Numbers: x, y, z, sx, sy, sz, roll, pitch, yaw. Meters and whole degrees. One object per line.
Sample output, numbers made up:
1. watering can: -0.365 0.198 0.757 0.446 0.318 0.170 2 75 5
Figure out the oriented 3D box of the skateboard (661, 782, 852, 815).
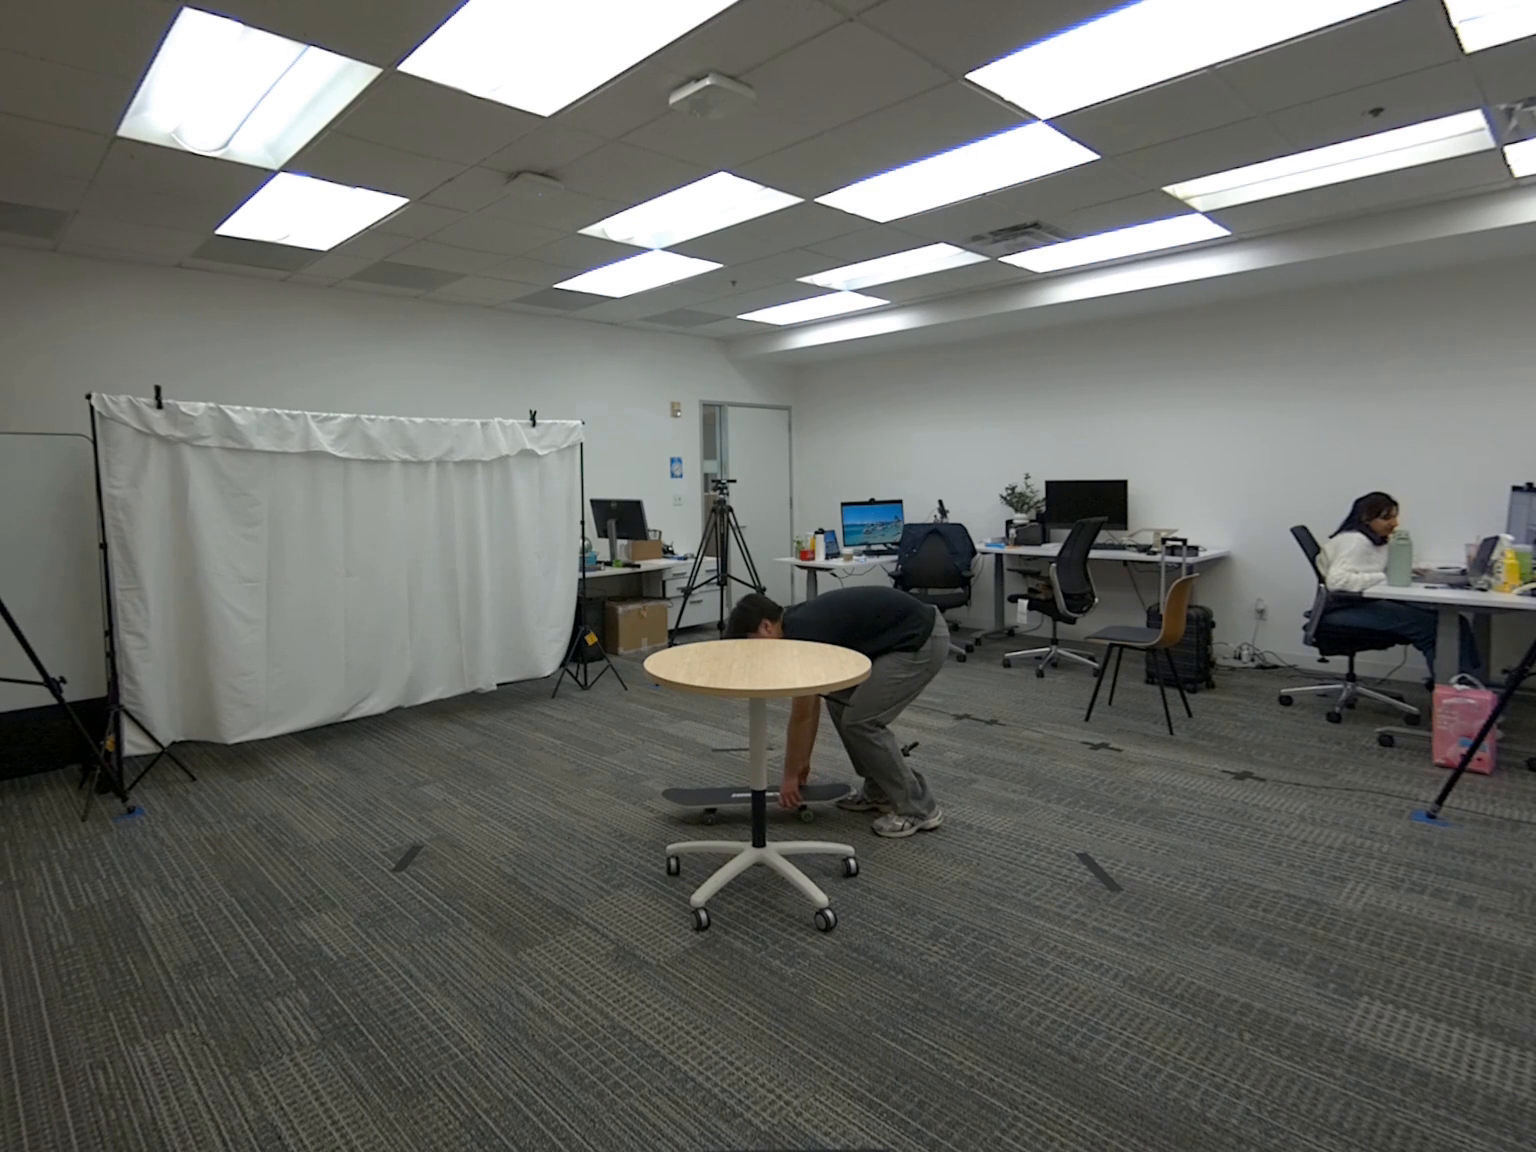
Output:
1. skateboard: -0.047 0.939 3.552 0.785 0.110 0.194 -1 6 -1
